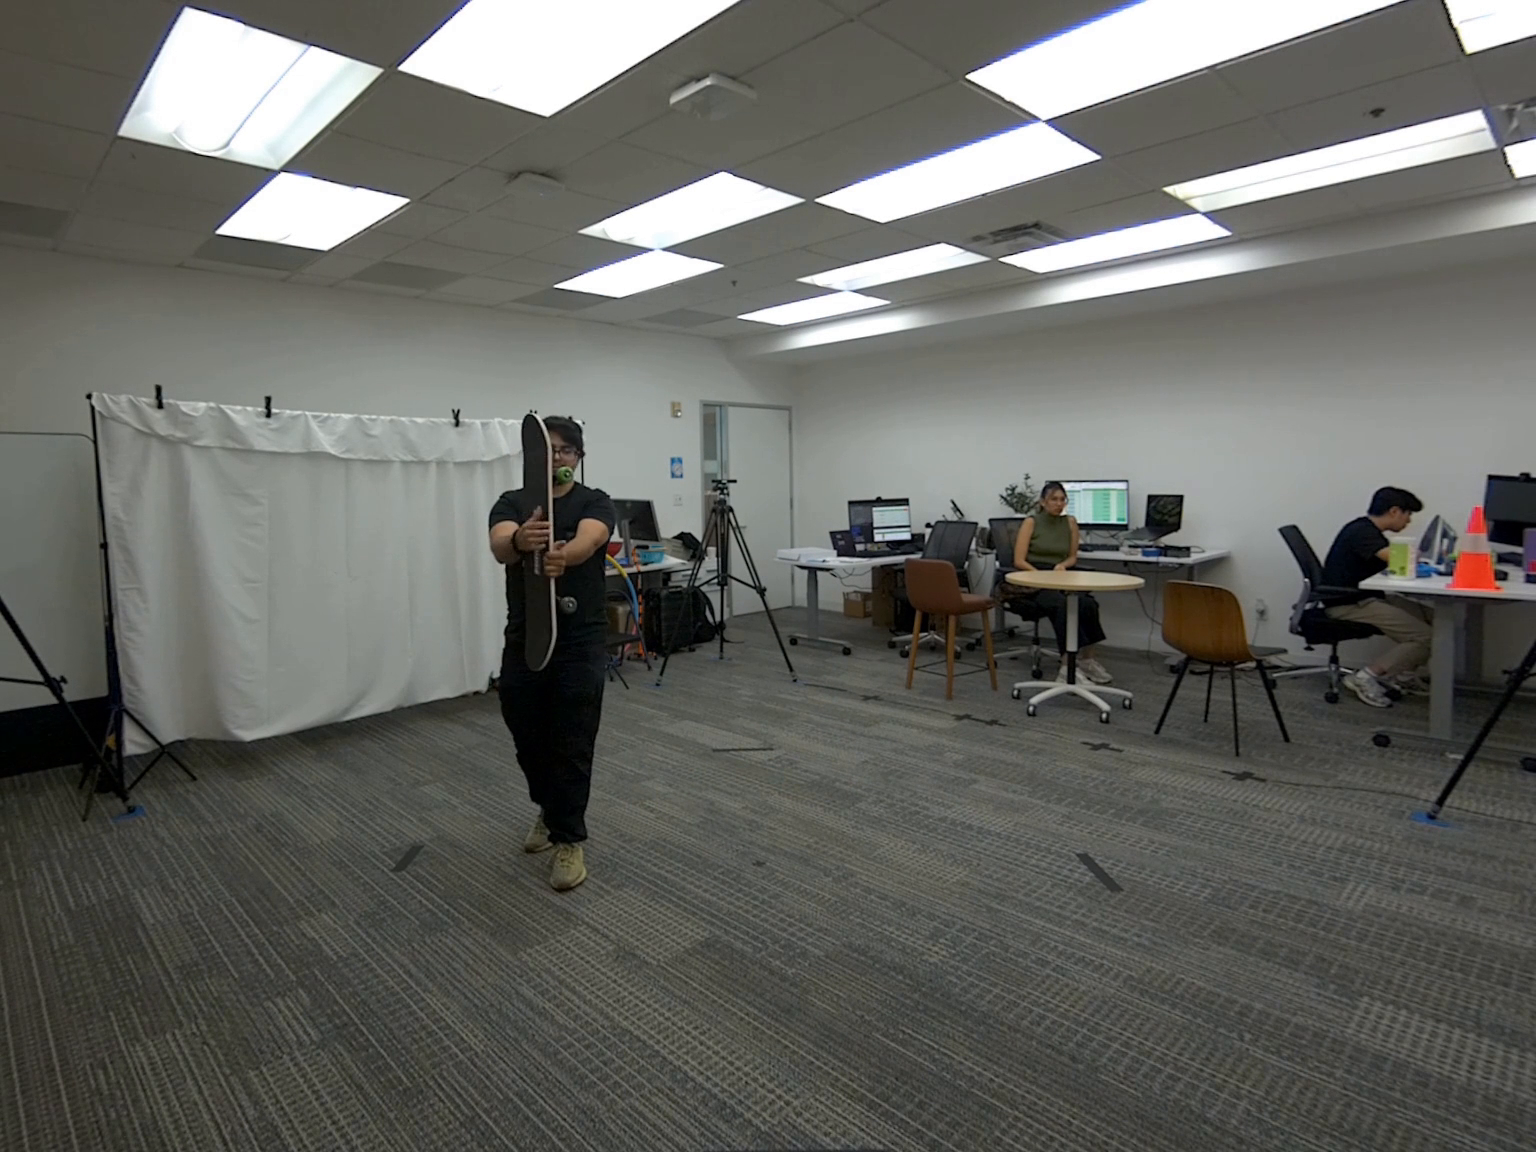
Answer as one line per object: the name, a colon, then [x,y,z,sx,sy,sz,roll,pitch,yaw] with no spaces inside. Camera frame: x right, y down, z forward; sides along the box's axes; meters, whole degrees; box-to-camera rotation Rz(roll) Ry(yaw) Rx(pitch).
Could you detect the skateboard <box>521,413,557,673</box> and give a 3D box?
skateboard: [-0.684,-0.100,2.653,0.107,0.787,0.198,0,-3,-39]
